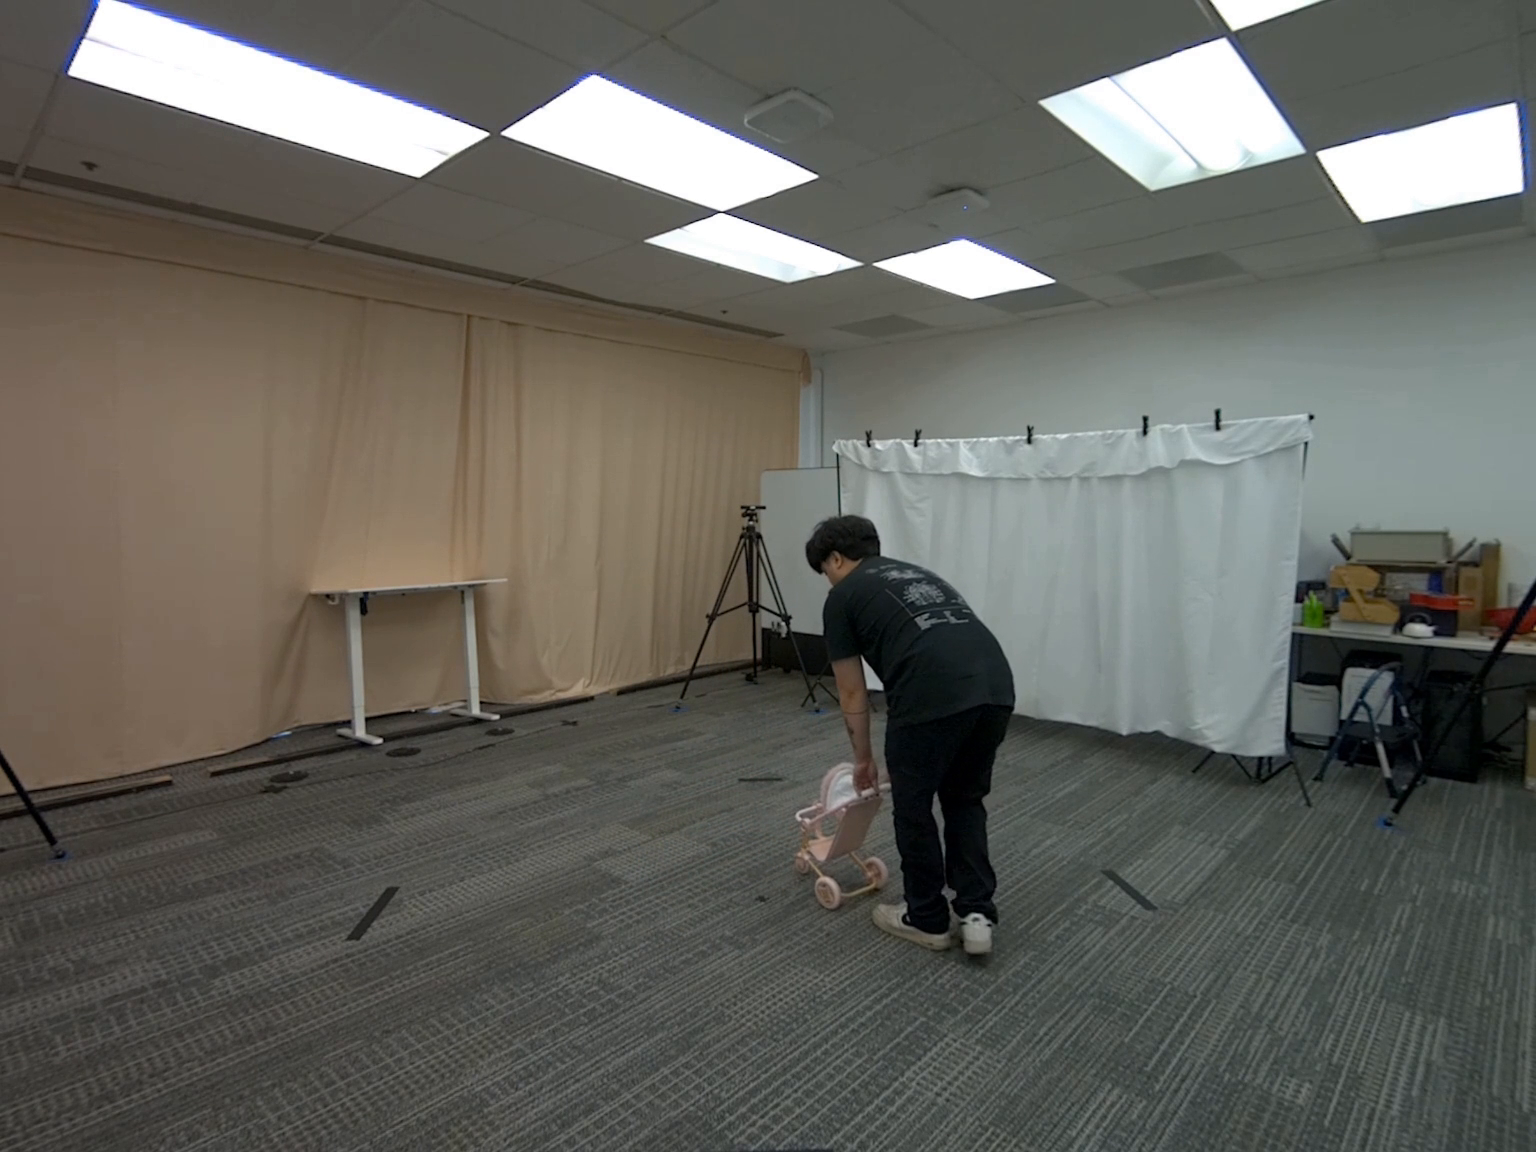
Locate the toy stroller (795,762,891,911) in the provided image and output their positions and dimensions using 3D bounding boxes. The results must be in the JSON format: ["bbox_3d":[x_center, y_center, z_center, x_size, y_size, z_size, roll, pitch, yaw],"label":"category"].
[{"bbox_3d":[0.261,0.910,3.027,0.273,0.531,0.354,-2,19,-36],"label":"toy stroller"}]
